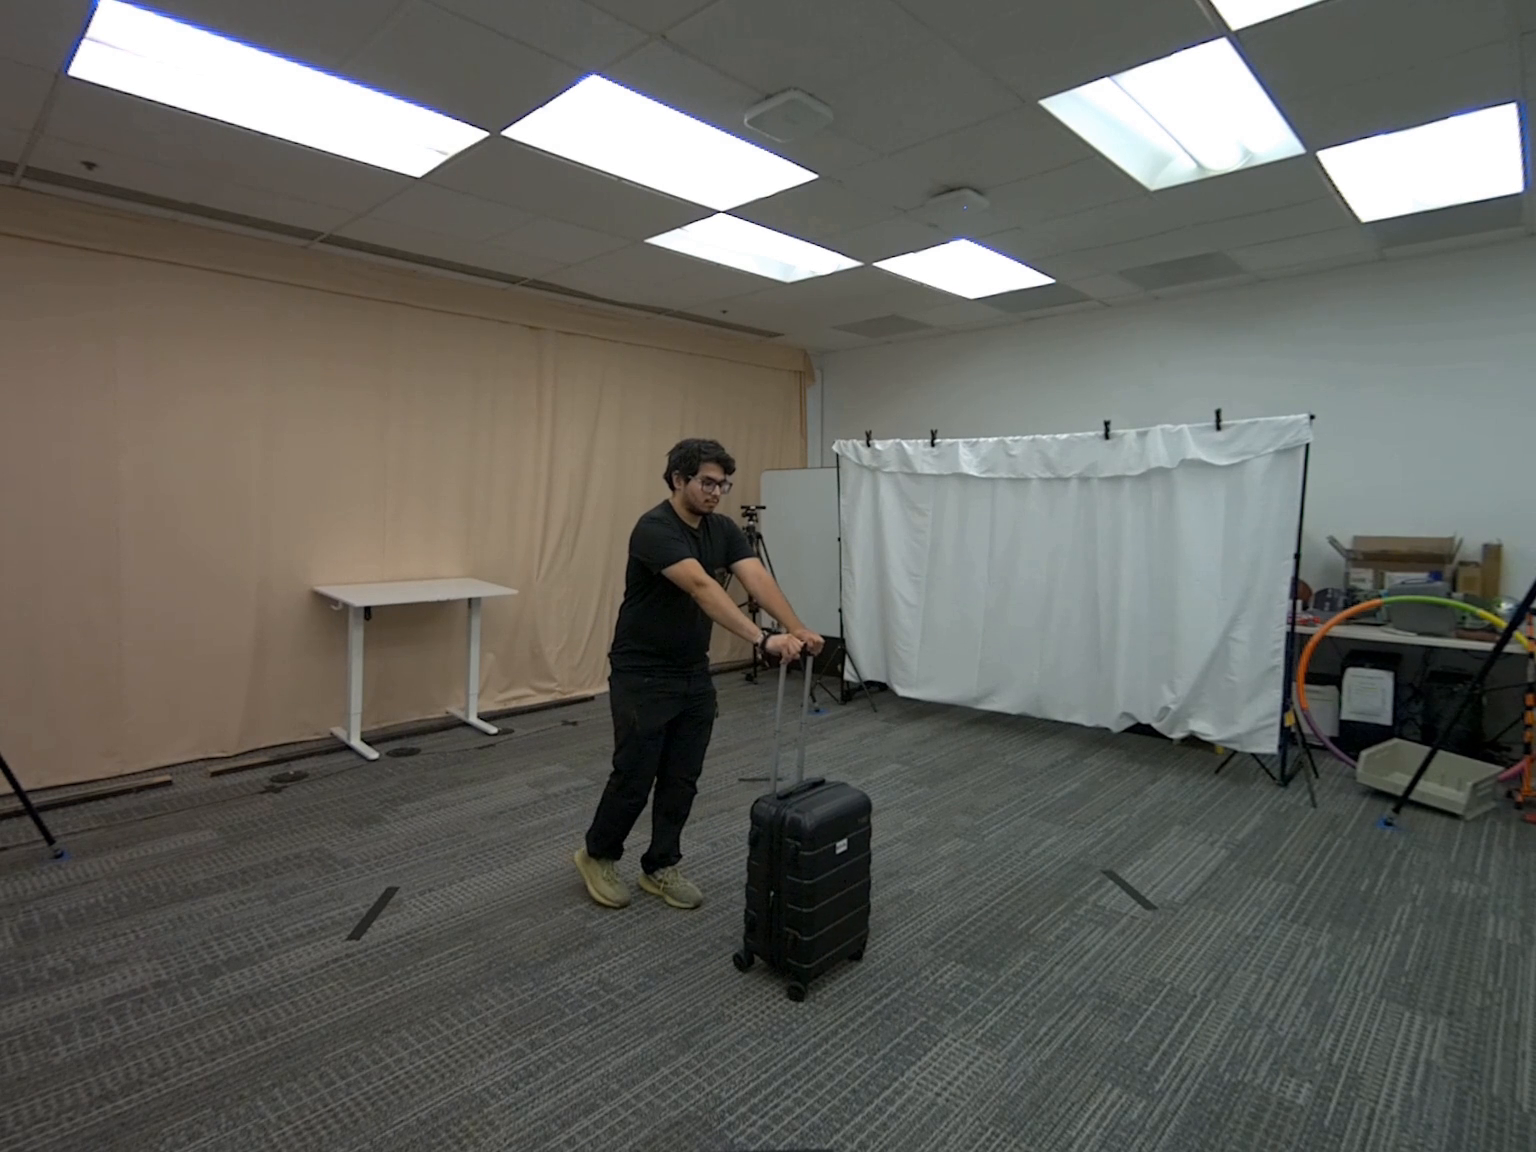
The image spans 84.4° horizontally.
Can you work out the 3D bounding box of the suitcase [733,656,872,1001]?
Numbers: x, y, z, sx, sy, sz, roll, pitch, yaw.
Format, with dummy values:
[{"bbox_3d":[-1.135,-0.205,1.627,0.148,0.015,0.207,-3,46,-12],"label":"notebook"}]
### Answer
[{"bbox_3d":[0.141,0.708,2.512,0.266,0.975,0.372,9,8,43],"label":"suitcase"}]
